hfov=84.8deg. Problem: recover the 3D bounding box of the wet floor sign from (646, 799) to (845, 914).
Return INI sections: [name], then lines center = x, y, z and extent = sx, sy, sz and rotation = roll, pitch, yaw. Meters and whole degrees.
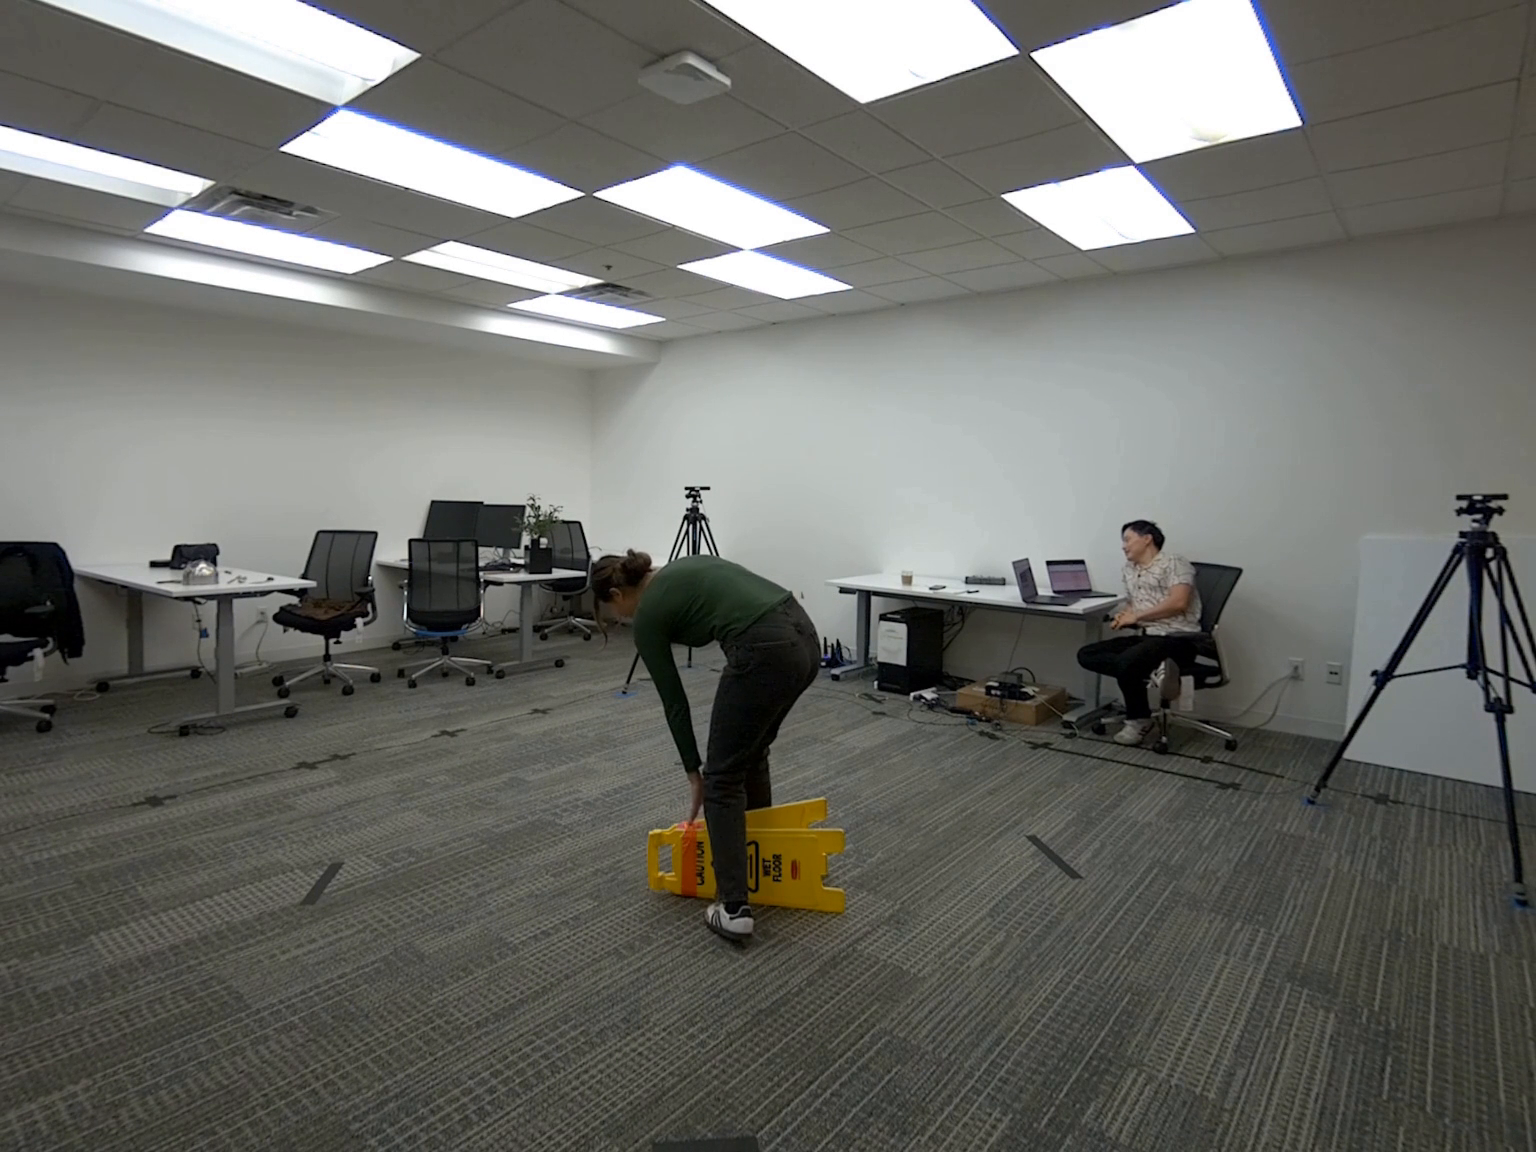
[wet floor sign]
center = -0.099, 0.952, 2.908
extent = 0.643, 0.281, 0.292
rotation = -2, 5, -5
